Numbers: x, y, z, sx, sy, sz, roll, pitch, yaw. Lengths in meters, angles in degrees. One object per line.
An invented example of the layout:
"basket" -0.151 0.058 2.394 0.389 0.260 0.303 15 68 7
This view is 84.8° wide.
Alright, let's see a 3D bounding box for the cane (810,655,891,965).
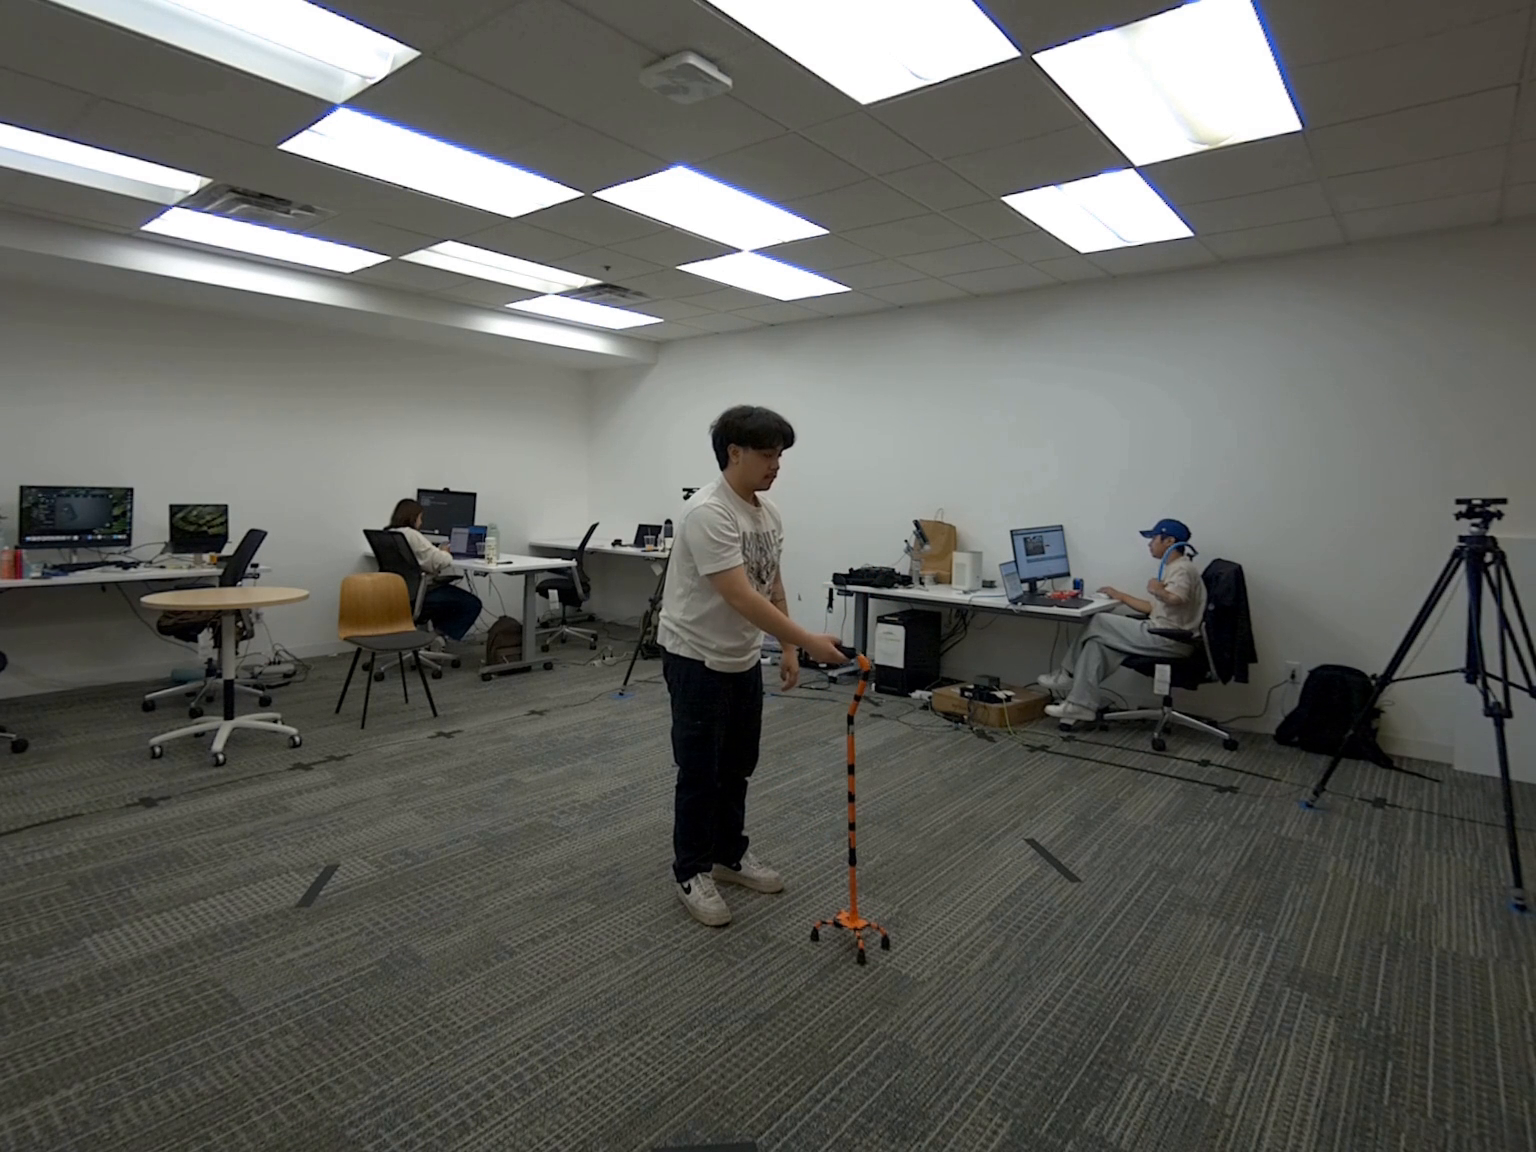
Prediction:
"cane" 0.241 0.675 2.601 0.213 0.906 0.147 2 3 43
